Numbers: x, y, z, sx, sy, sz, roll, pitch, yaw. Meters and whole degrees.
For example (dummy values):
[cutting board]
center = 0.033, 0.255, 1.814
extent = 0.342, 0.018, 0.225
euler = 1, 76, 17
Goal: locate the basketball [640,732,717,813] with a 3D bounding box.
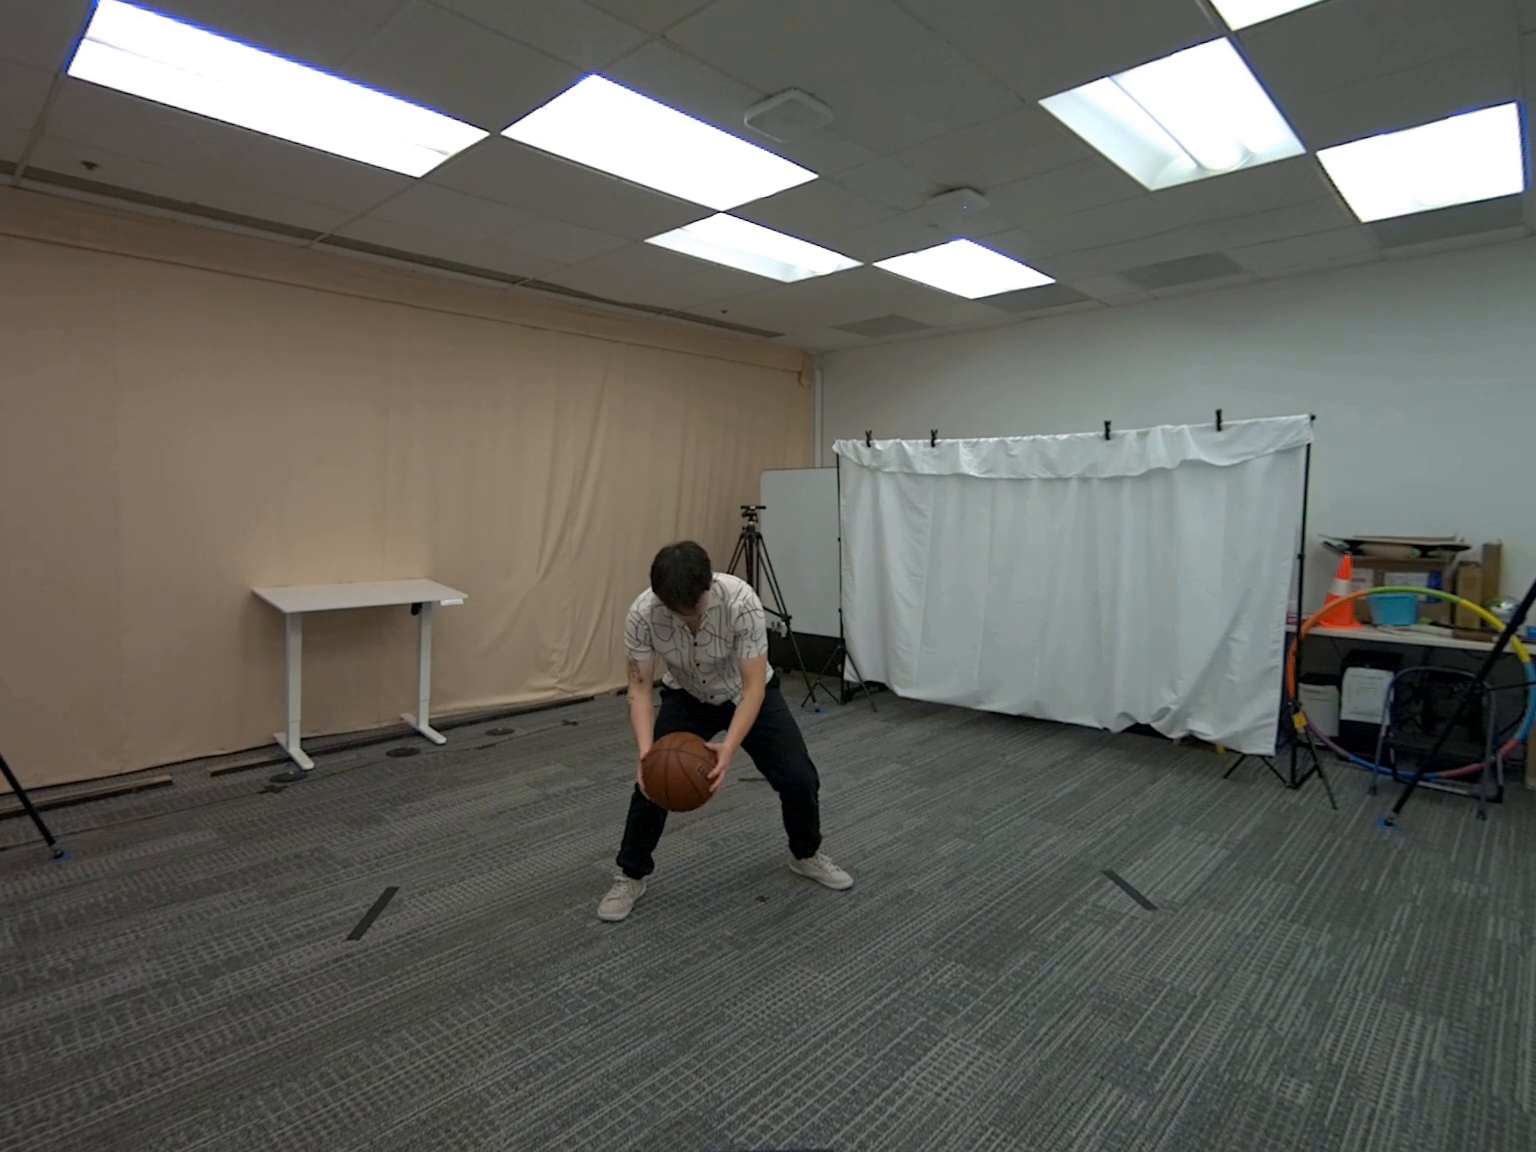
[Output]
[basketball]
center = -0.265, 0.592, 2.596
extent = 0.236, 0.235, 0.237
euler = 0, 4, -2
